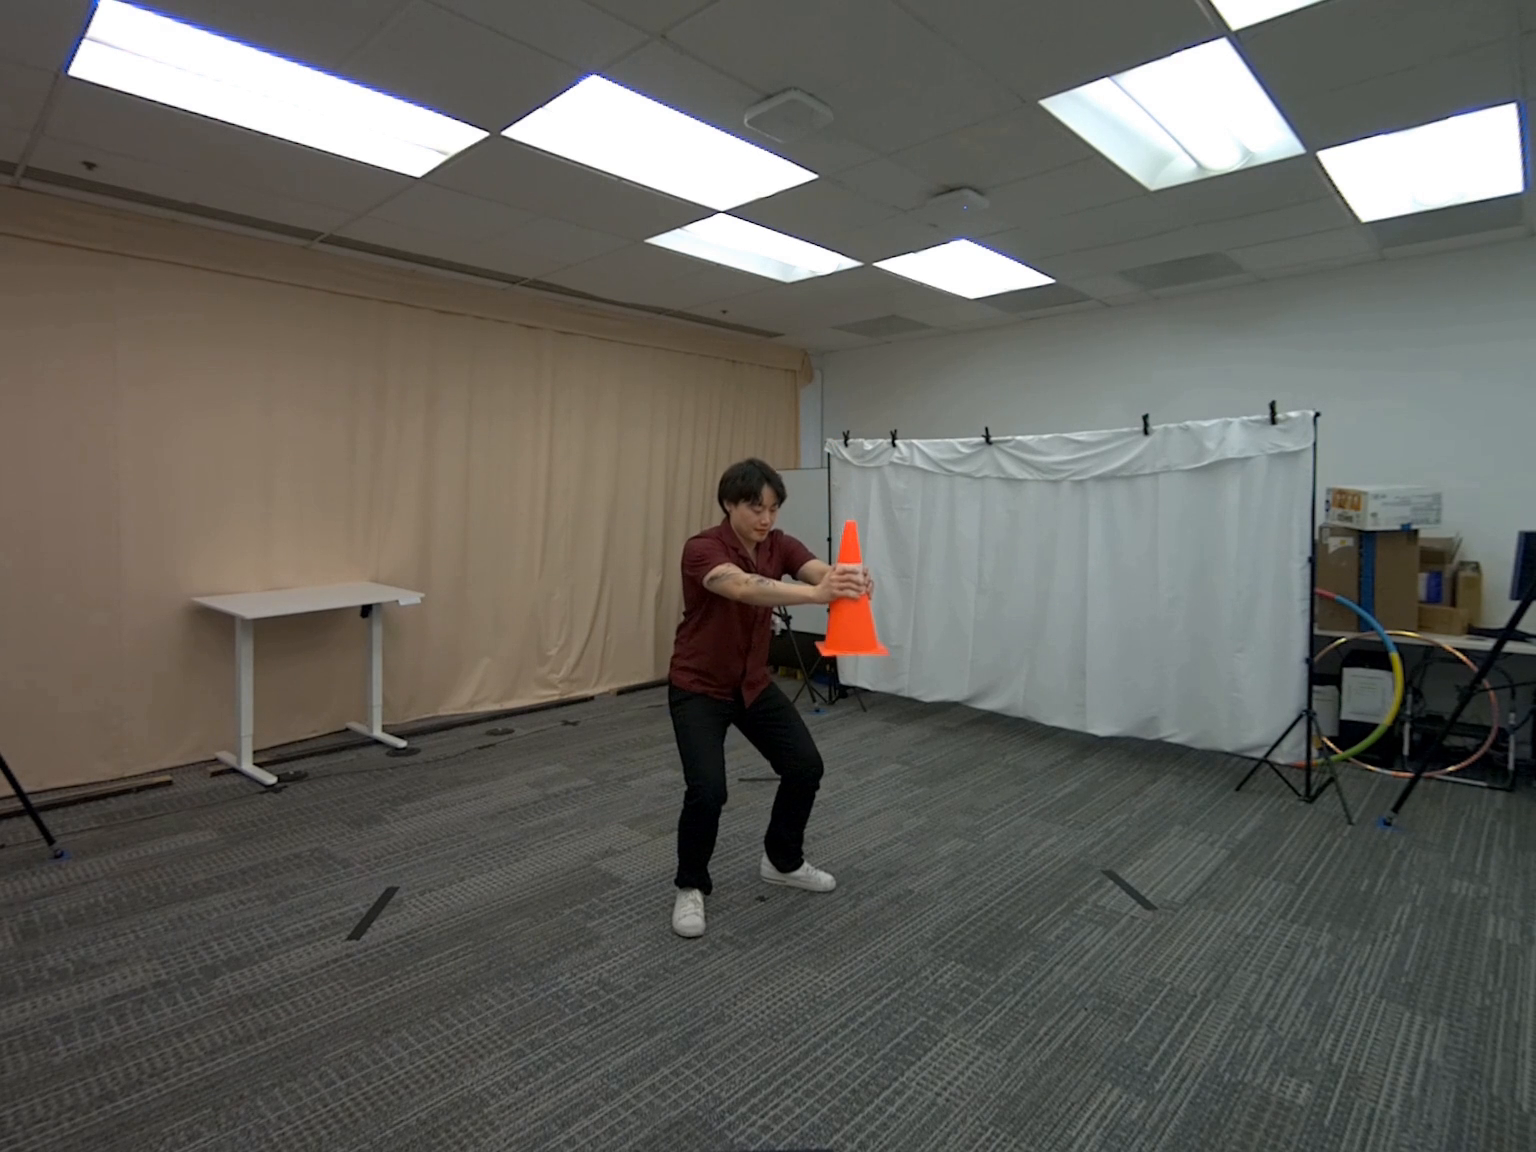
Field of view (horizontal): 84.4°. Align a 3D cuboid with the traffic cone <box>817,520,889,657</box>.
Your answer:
[{"bbox_3d":[0.261,0.032,2.505,0.204,0.383,0.205,1,3,1],"label":"traffic cone"}]
